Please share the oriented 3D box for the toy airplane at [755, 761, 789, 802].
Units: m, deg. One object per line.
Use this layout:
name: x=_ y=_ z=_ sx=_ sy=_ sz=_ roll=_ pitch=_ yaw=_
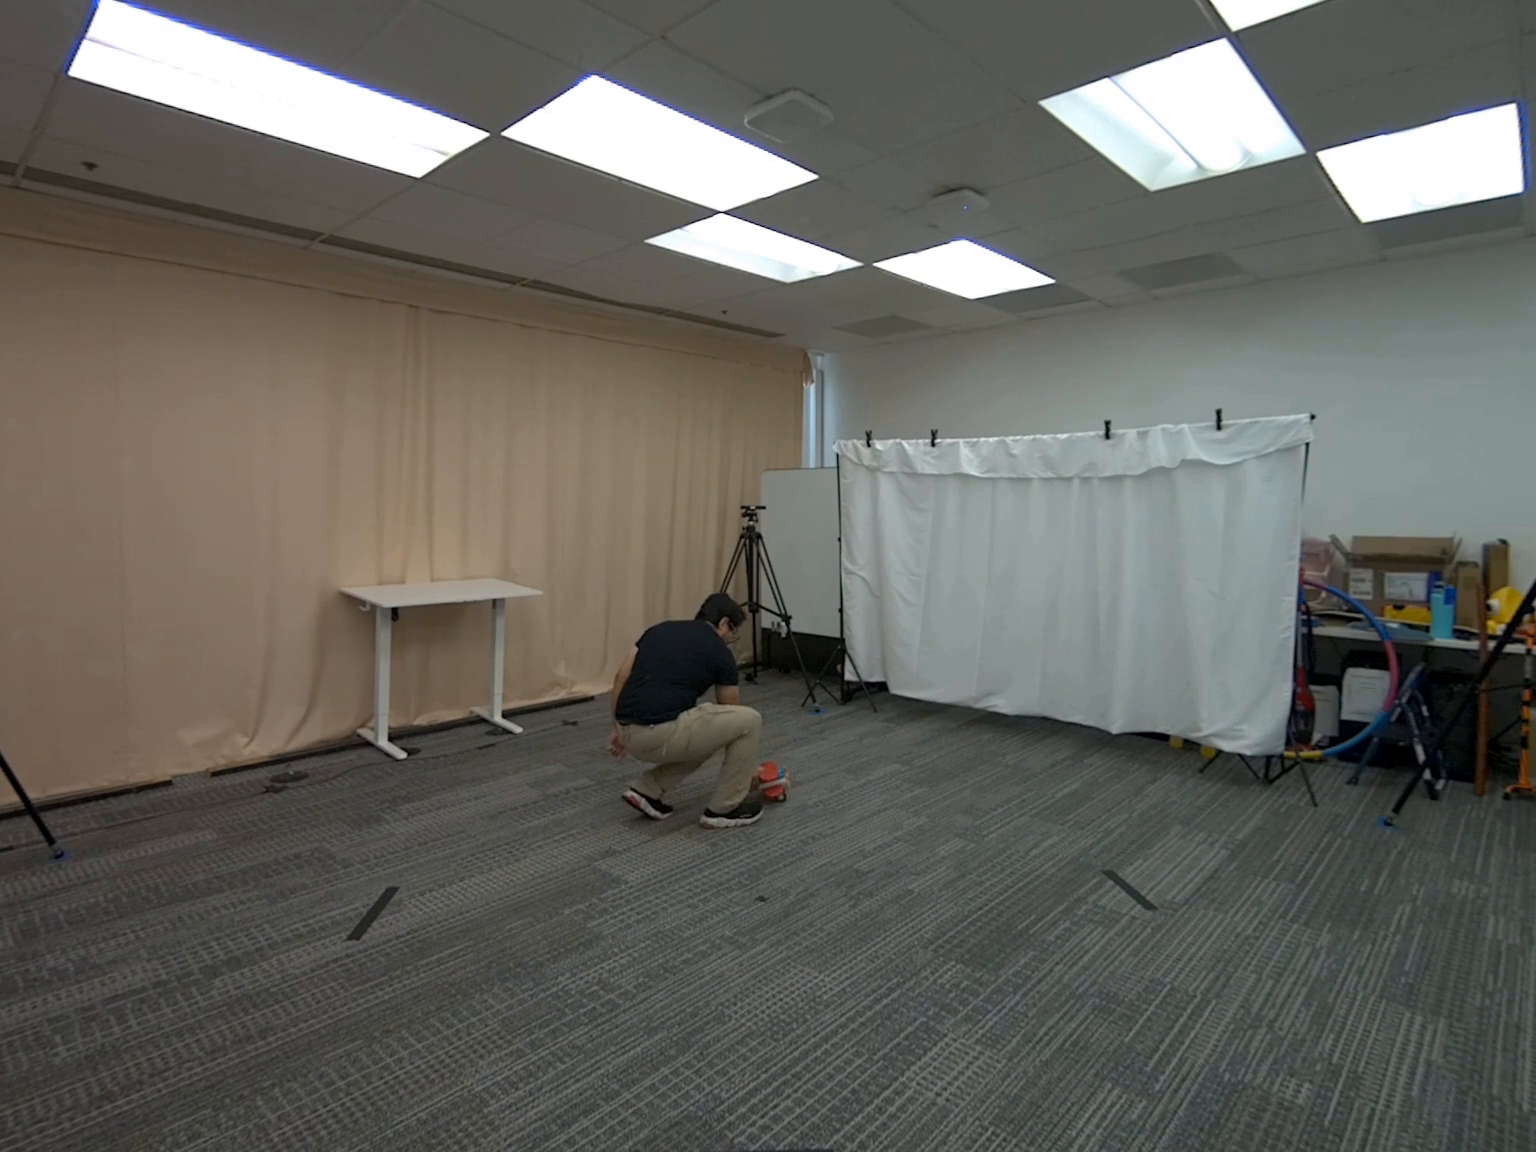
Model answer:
toy airplane: x=-0.025 y=0.989 z=3.988 sx=0.252 sy=0.156 sz=0.258 roll=-1 pitch=4 yaw=-29
